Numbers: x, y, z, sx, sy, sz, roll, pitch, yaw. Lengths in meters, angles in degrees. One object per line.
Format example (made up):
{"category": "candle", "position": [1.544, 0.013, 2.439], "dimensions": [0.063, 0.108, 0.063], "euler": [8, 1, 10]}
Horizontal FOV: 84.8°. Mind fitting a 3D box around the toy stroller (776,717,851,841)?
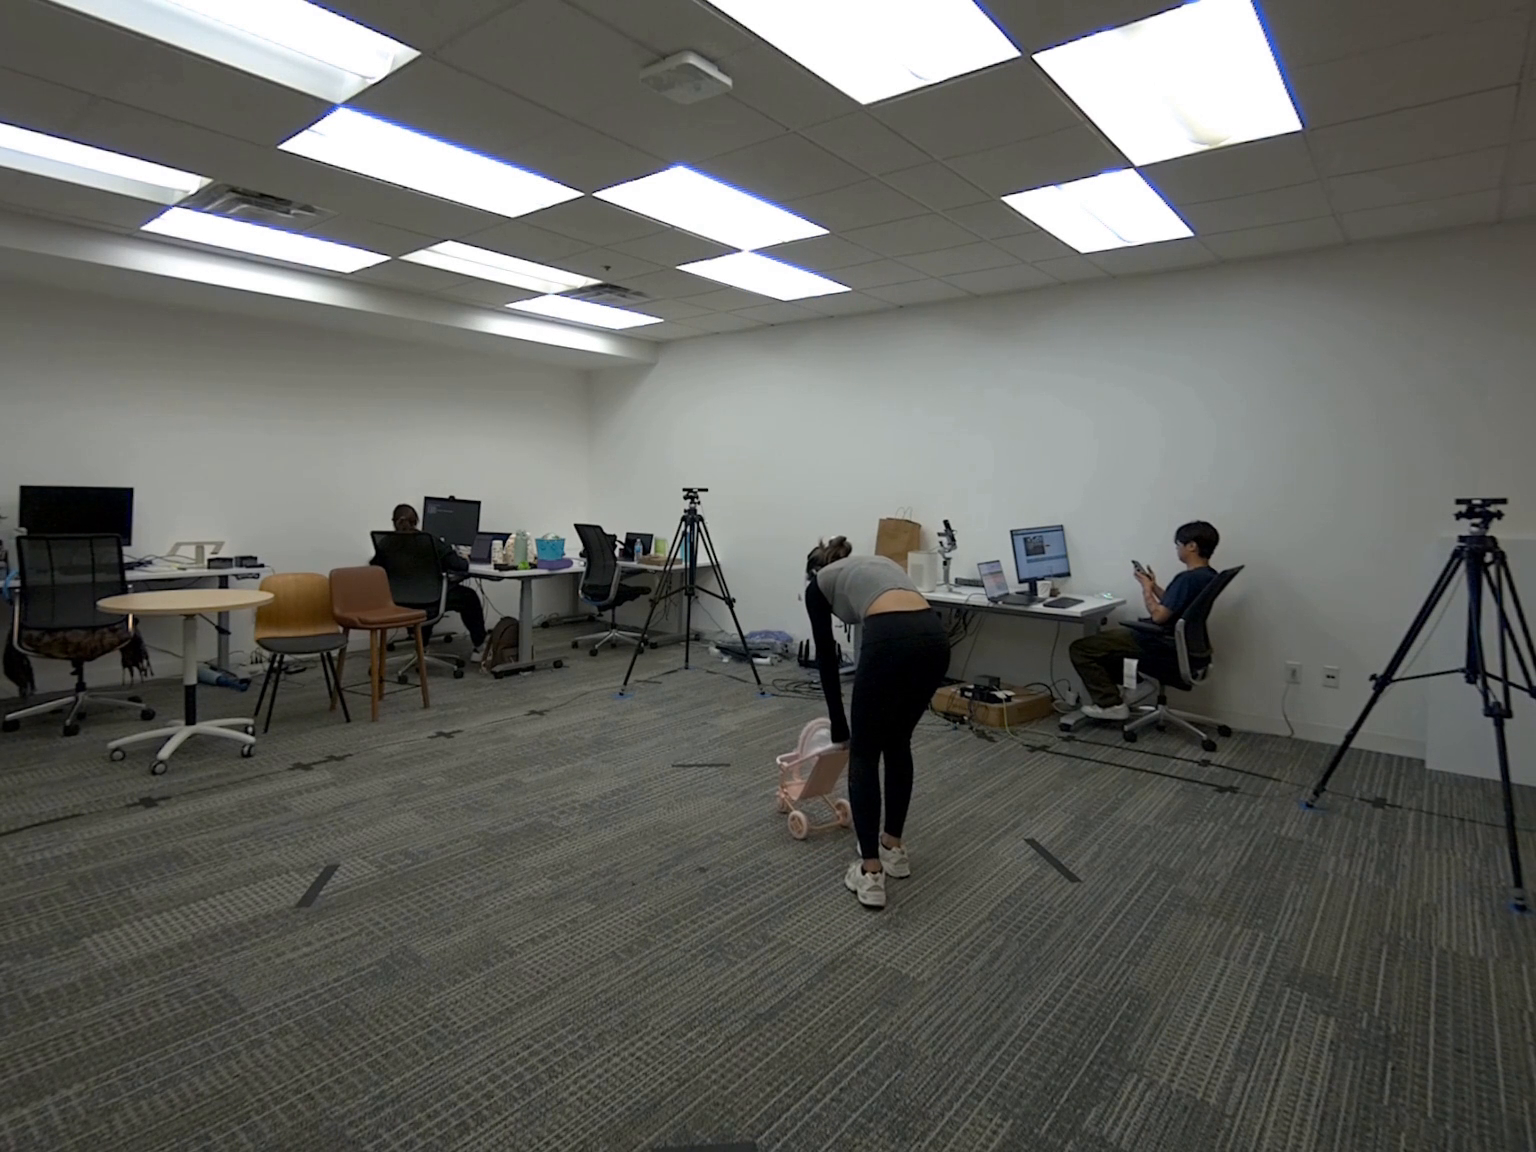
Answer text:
{"category": "toy stroller", "position": [0.179, 0.814, 3.518], "dimensions": [0.273, 0.529, 0.355], "euler": [0, 20, -34]}
